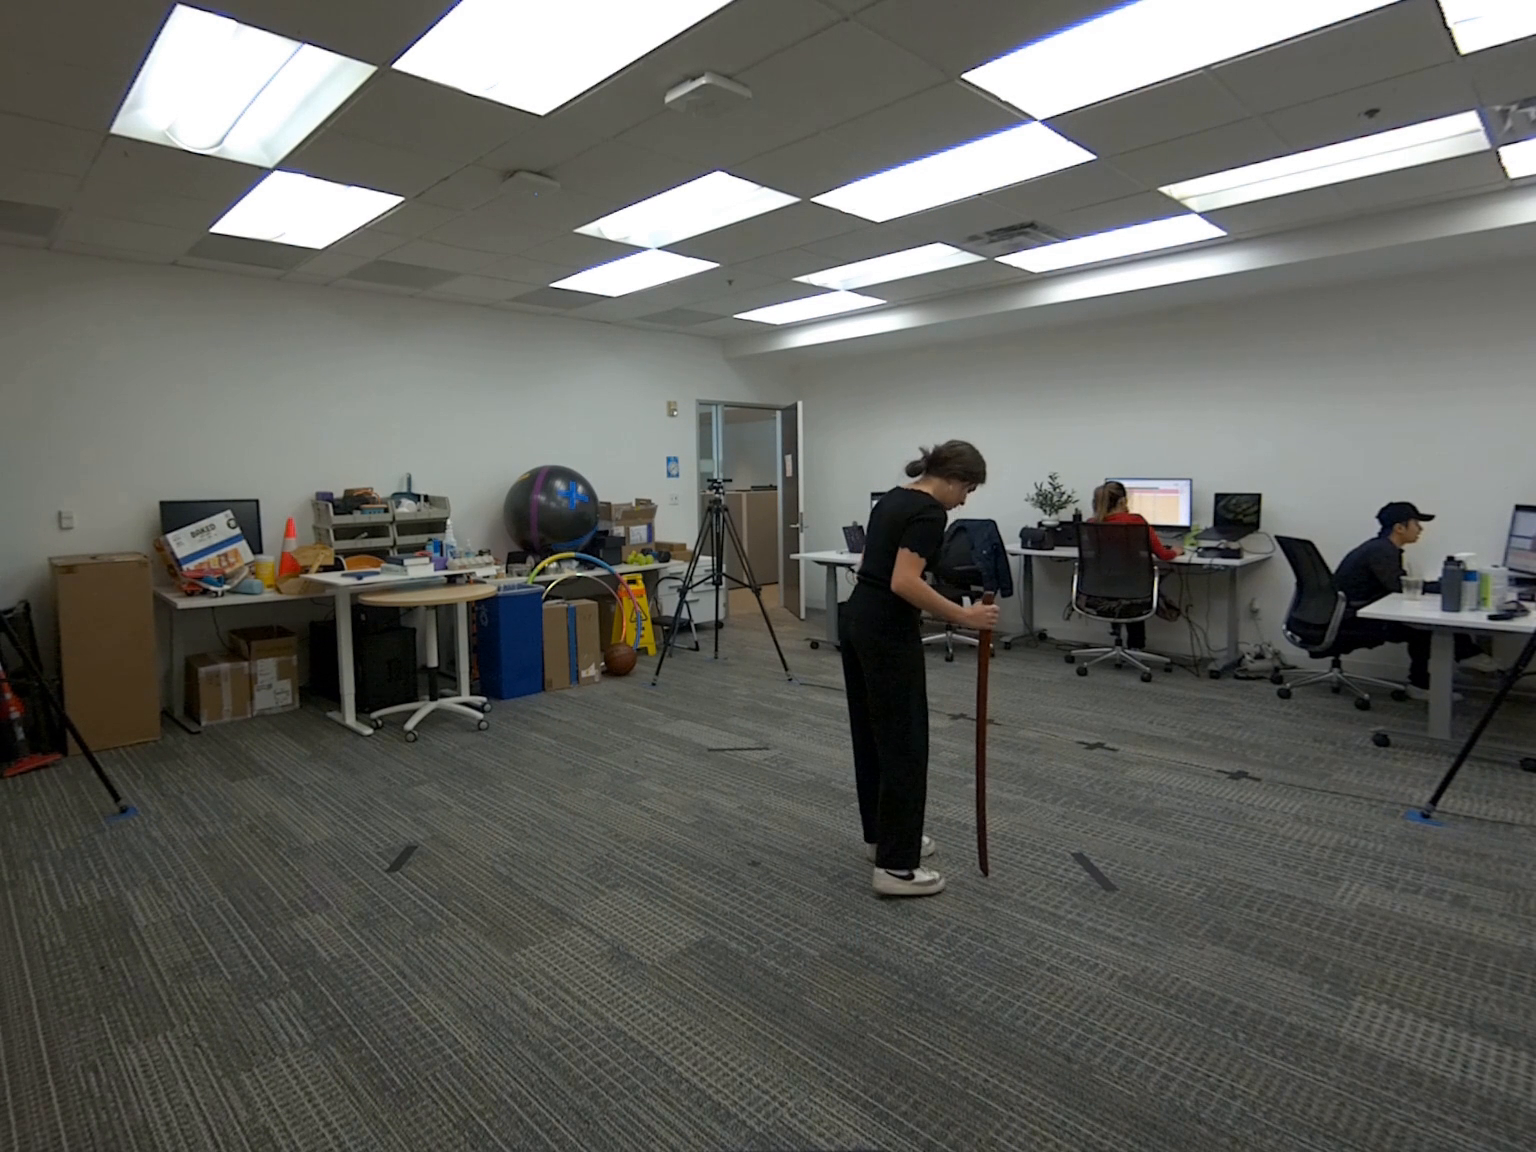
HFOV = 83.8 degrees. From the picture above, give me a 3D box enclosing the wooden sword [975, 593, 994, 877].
[{"bbox_3d":[0.711,0.572,2.884,0.024,1.012,0.053,-9,13,-22],"label":"wooden sword"}]
